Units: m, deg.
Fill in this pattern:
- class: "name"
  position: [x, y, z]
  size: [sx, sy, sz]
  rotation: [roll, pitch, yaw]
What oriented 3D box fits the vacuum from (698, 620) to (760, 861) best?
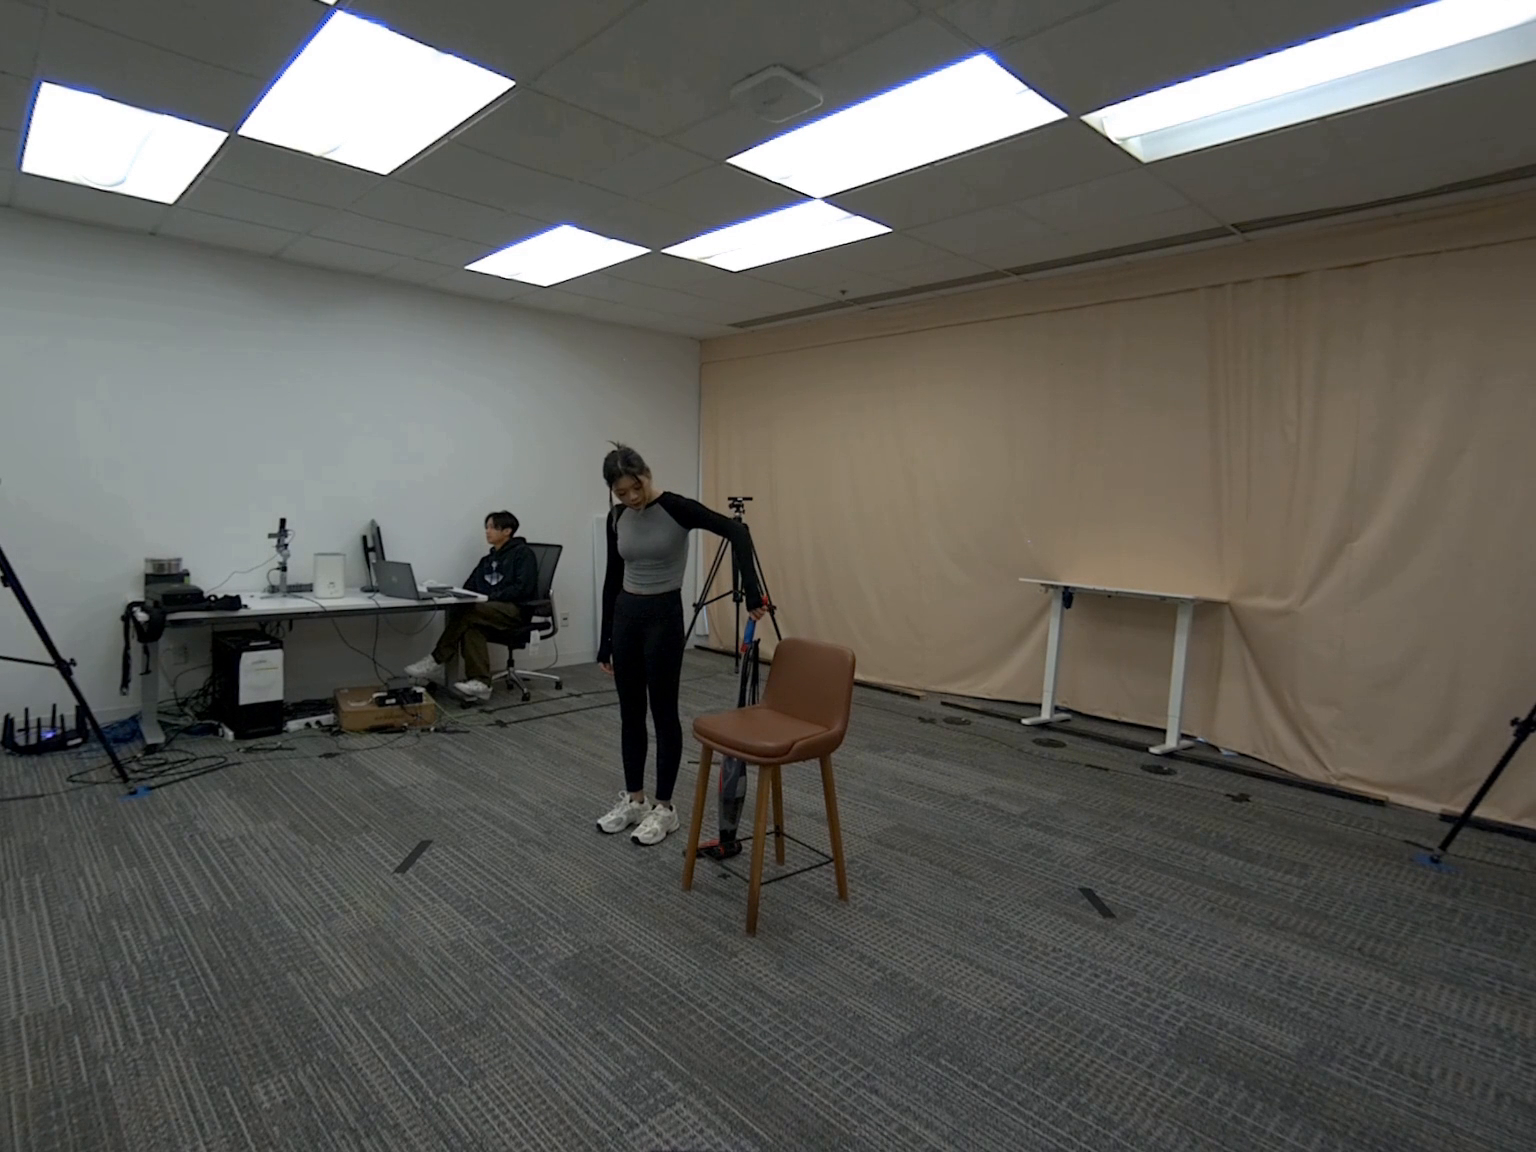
- class: "vacuum"
  position: [-0.113, 0.589, 3.209]
  size: [0.247, 1.042, 0.148]
  rotation: [1, 15, -35]
